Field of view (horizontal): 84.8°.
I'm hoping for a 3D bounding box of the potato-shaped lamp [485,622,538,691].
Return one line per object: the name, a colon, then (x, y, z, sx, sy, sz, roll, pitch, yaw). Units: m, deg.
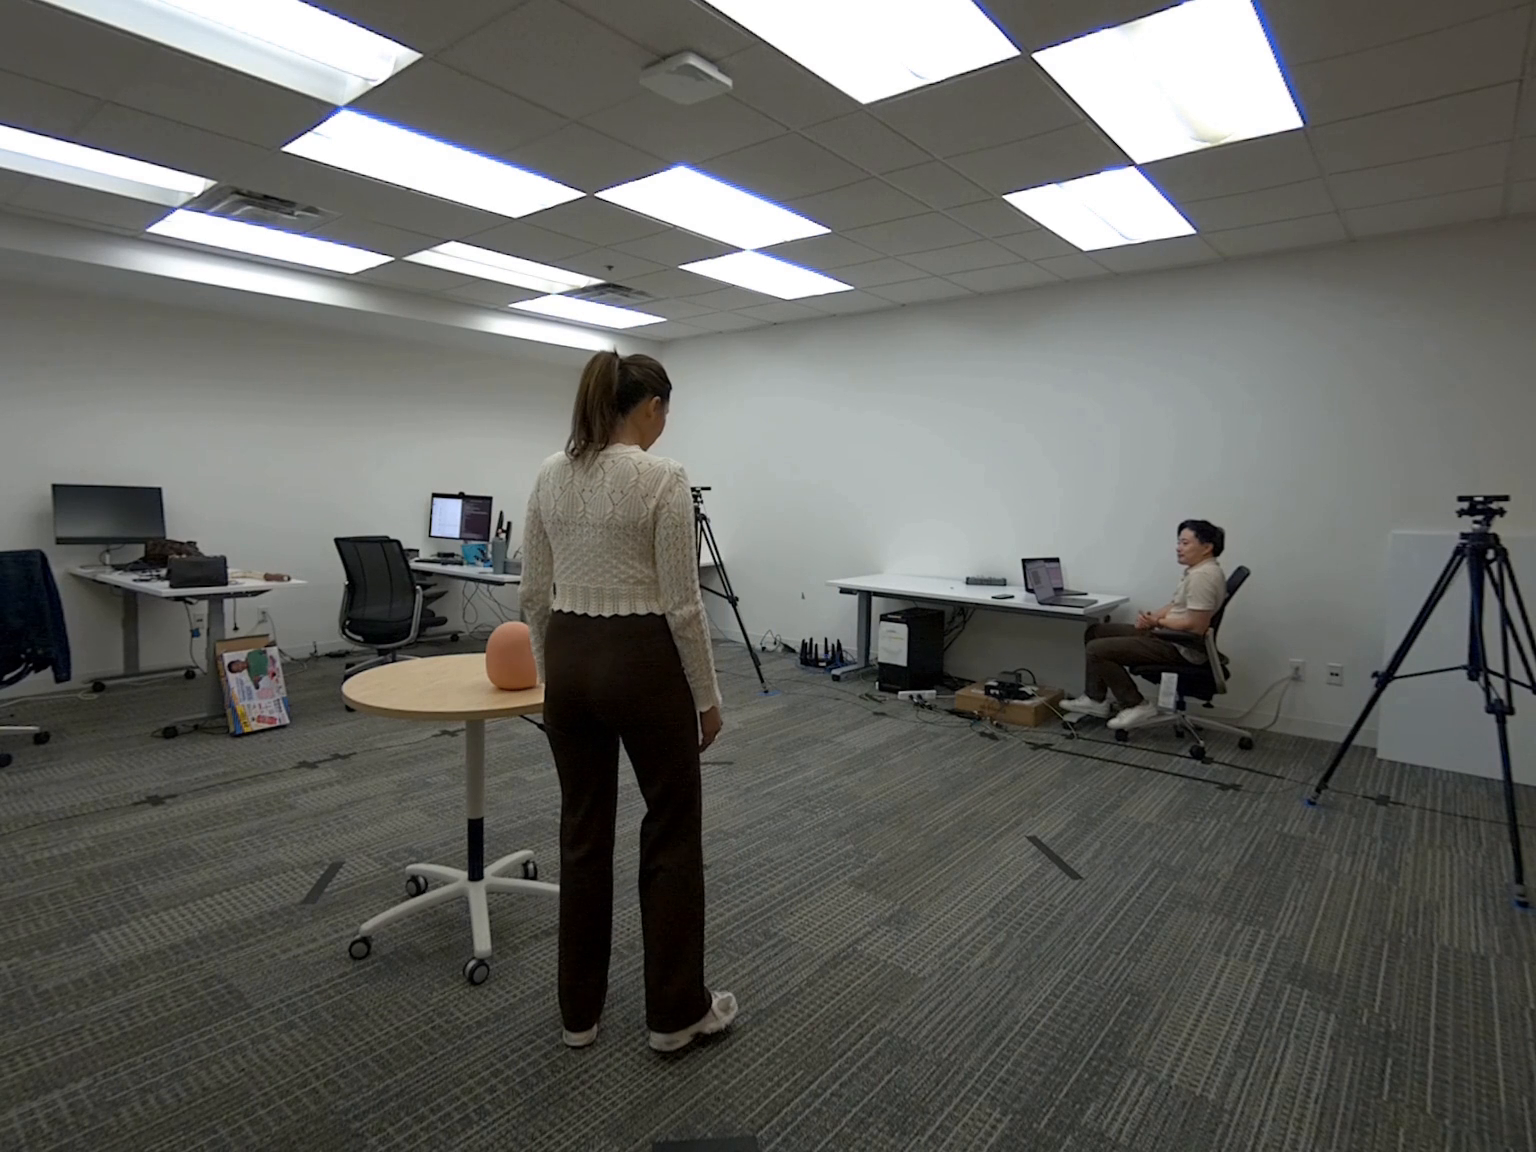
potato-shaped lamp: (-0.773, 0.234, 2.557, 0.170, 0.197, 0.166, 9, 9, 36)
